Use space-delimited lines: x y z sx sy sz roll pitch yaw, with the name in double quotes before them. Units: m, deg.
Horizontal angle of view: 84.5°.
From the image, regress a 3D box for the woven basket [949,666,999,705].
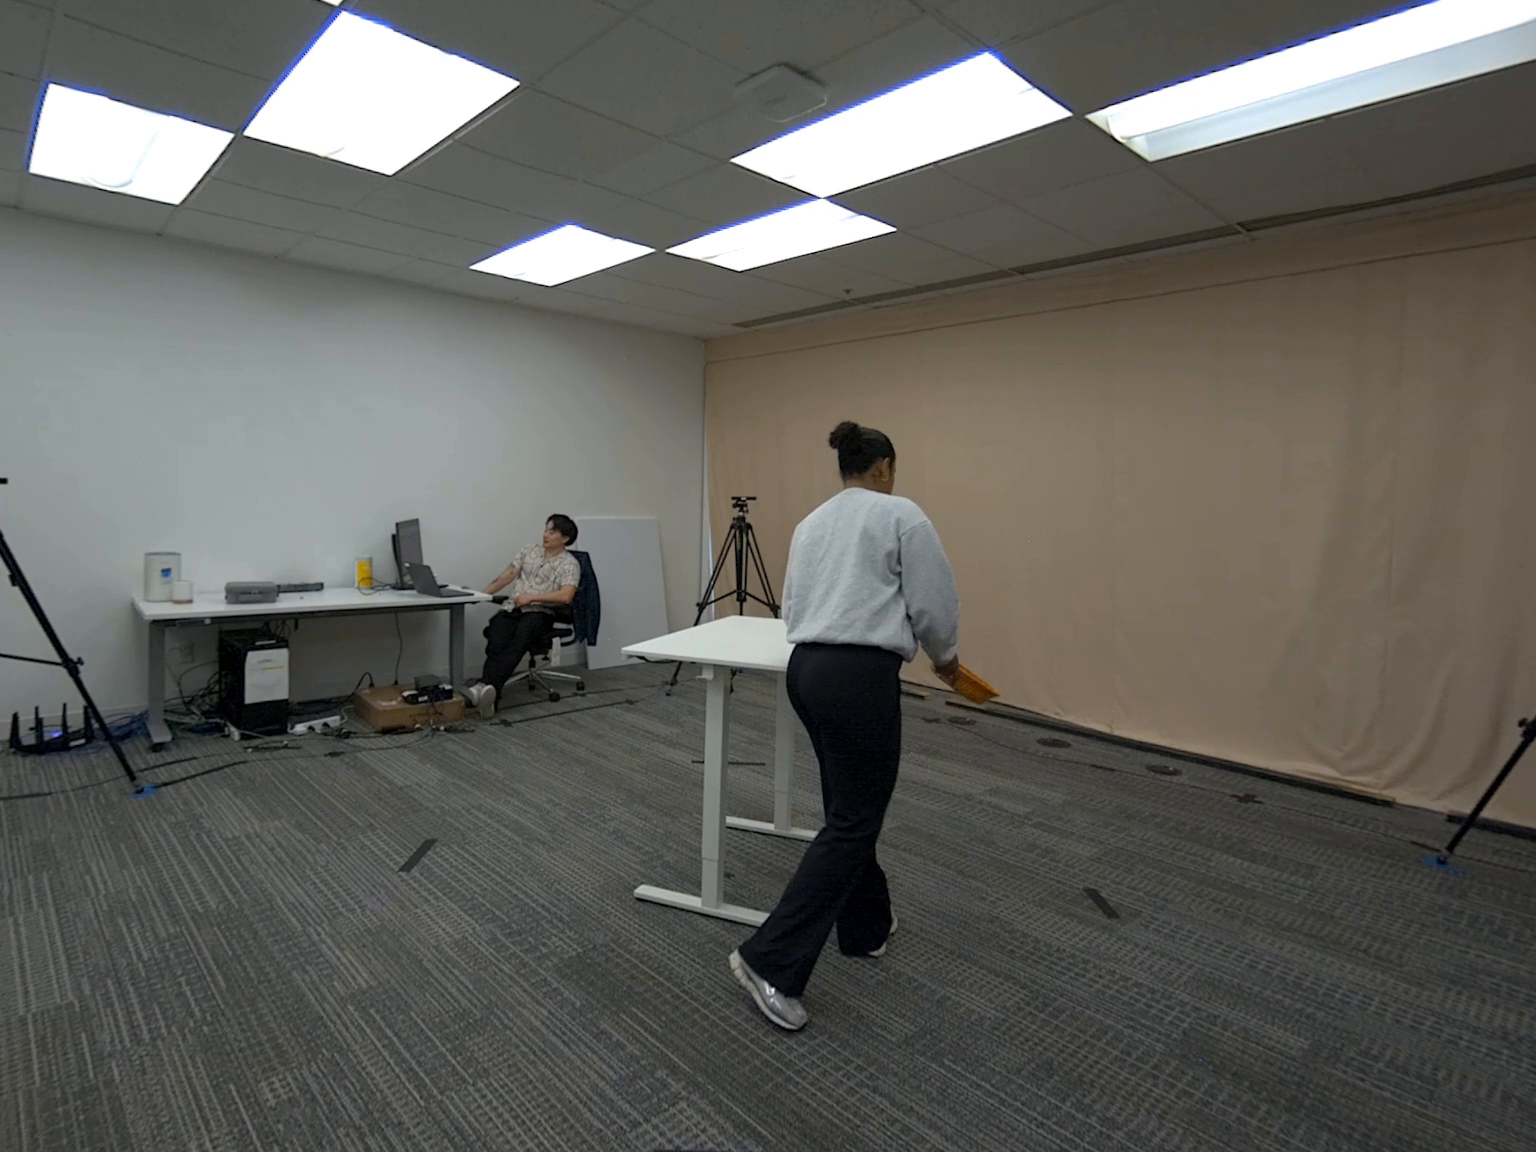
"woven basket" 0.634 0.339 2.772 0.260 0.073 0.340 32 4 35
